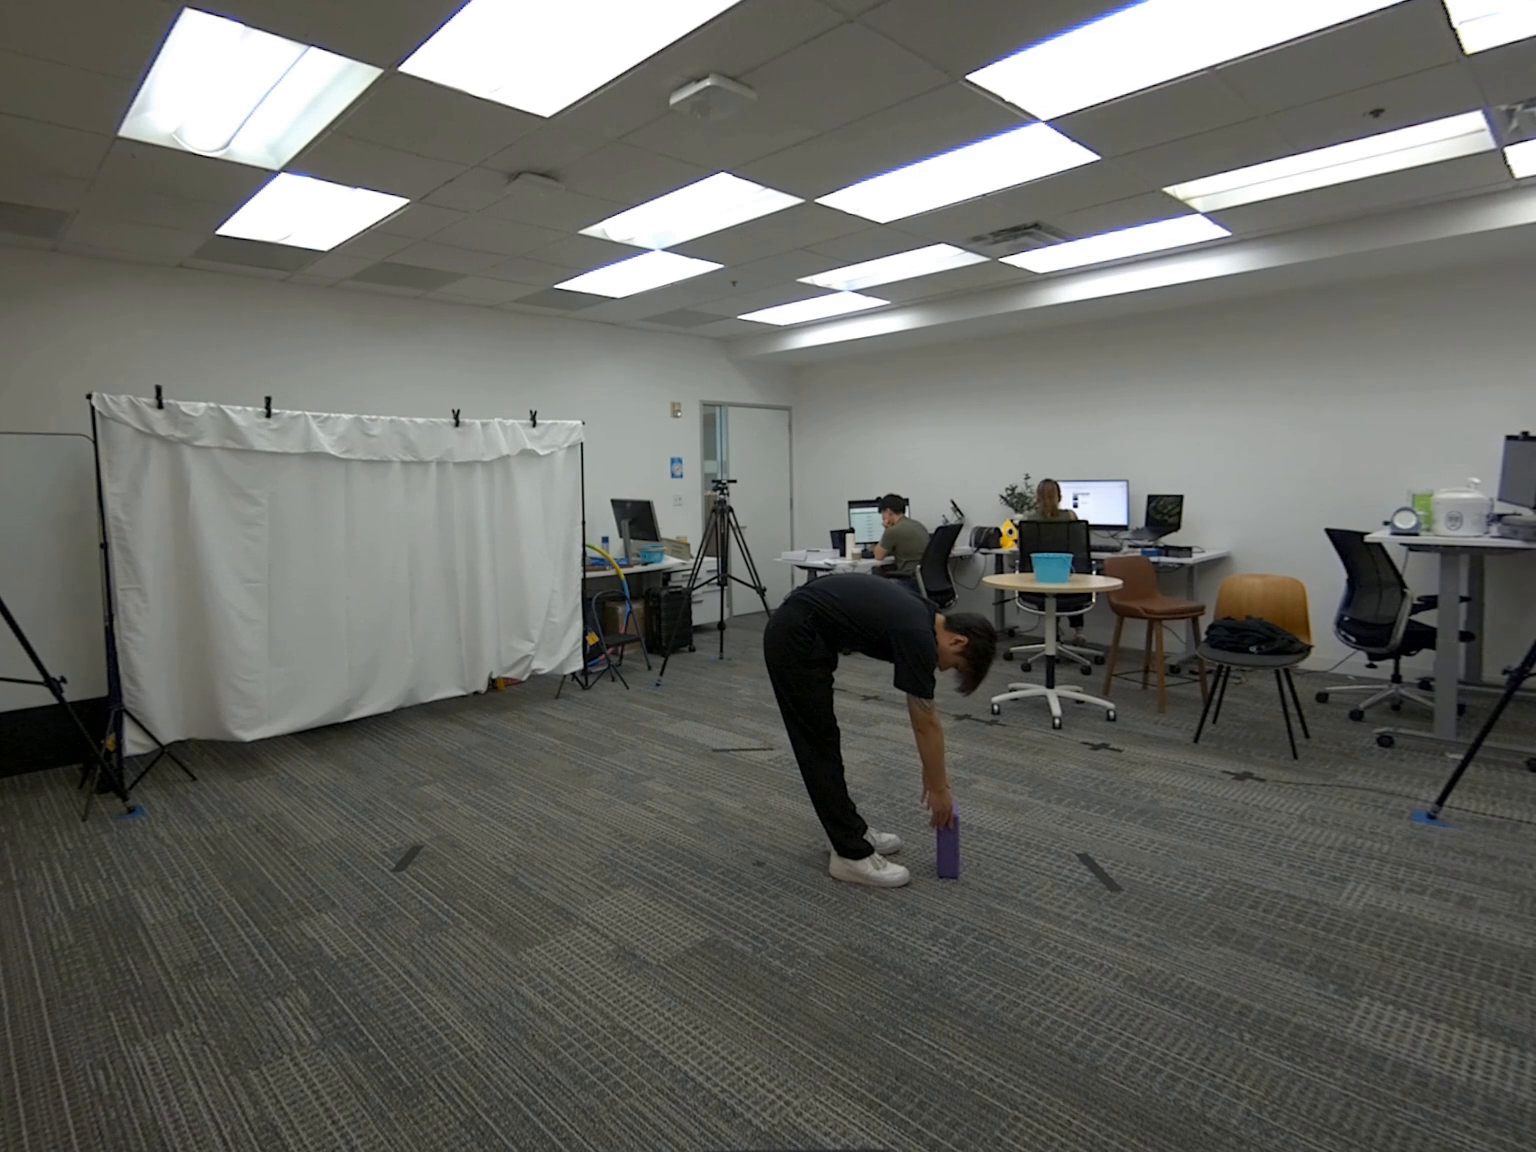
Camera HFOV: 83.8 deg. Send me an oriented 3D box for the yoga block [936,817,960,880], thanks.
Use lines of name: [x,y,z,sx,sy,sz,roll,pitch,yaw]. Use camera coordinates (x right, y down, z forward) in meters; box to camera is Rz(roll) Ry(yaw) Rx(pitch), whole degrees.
yoga block: [0.635,0.925,3.024,0.077,0.228,0.148,1,5,10]
